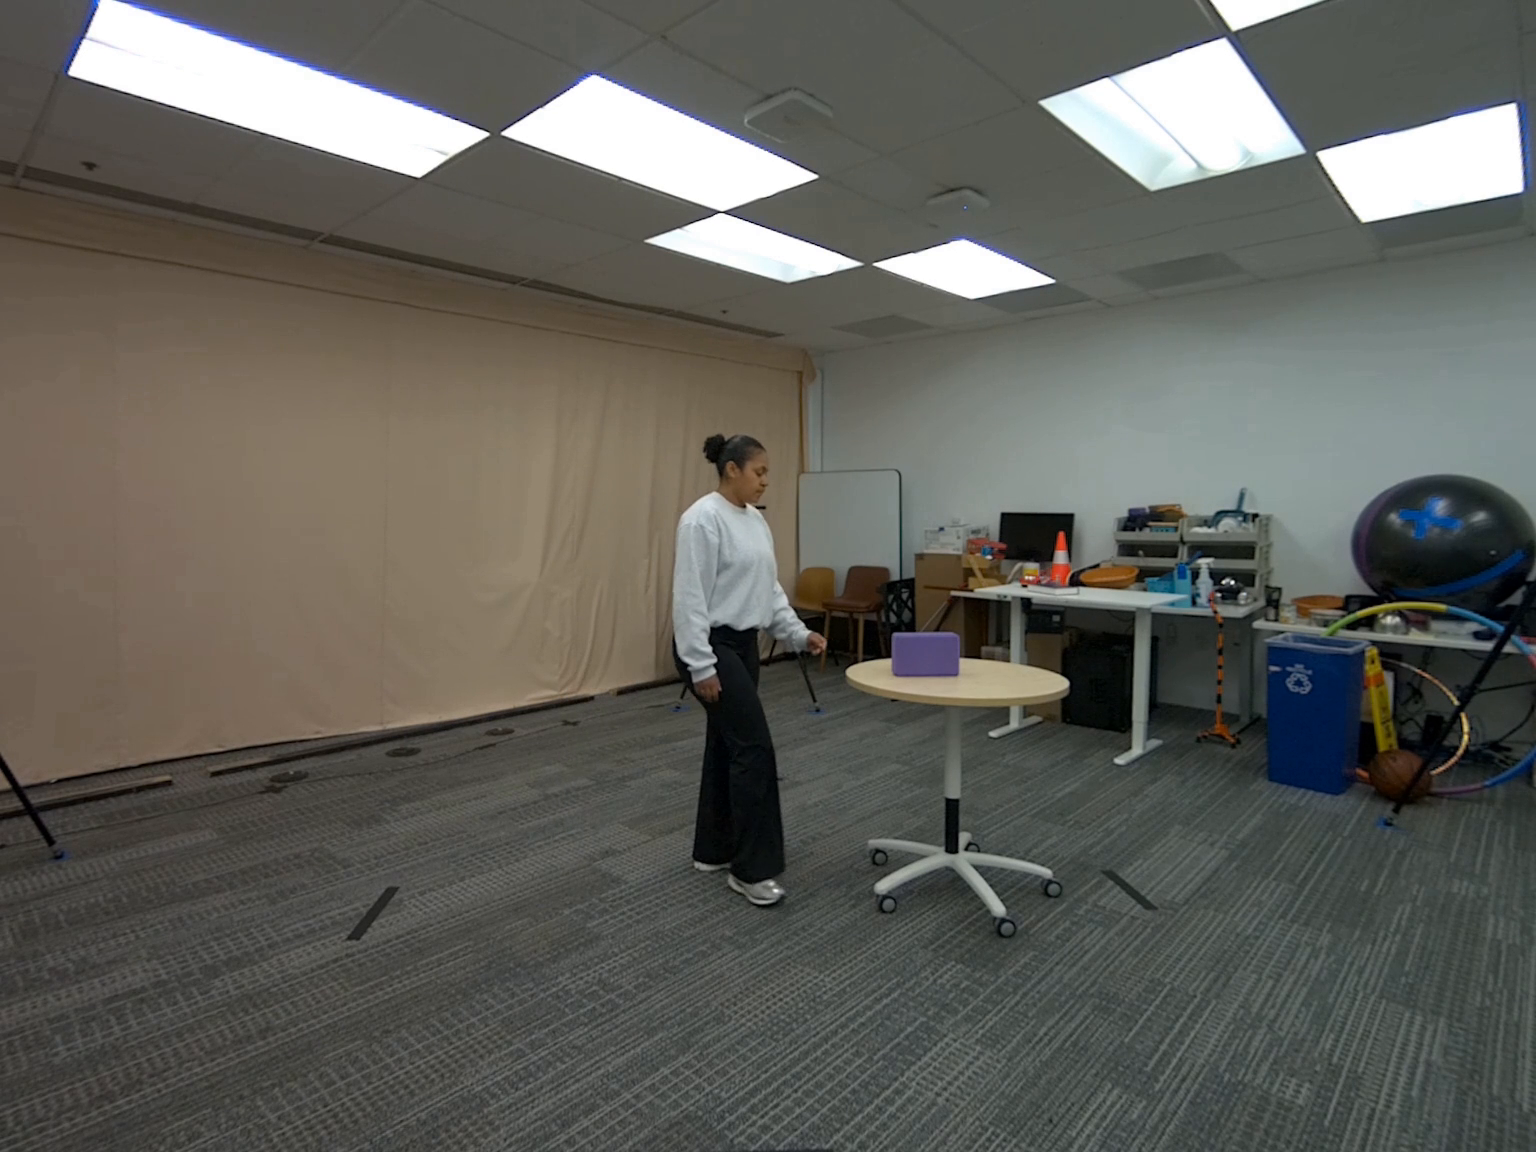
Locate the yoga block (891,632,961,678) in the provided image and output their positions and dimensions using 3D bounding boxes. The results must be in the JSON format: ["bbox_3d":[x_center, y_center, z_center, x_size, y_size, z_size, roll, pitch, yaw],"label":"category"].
[{"bbox_3d":[0.570,0.285,3.023,0.229,0.149,0.076,0,2,1],"label":"yoga block"}]
